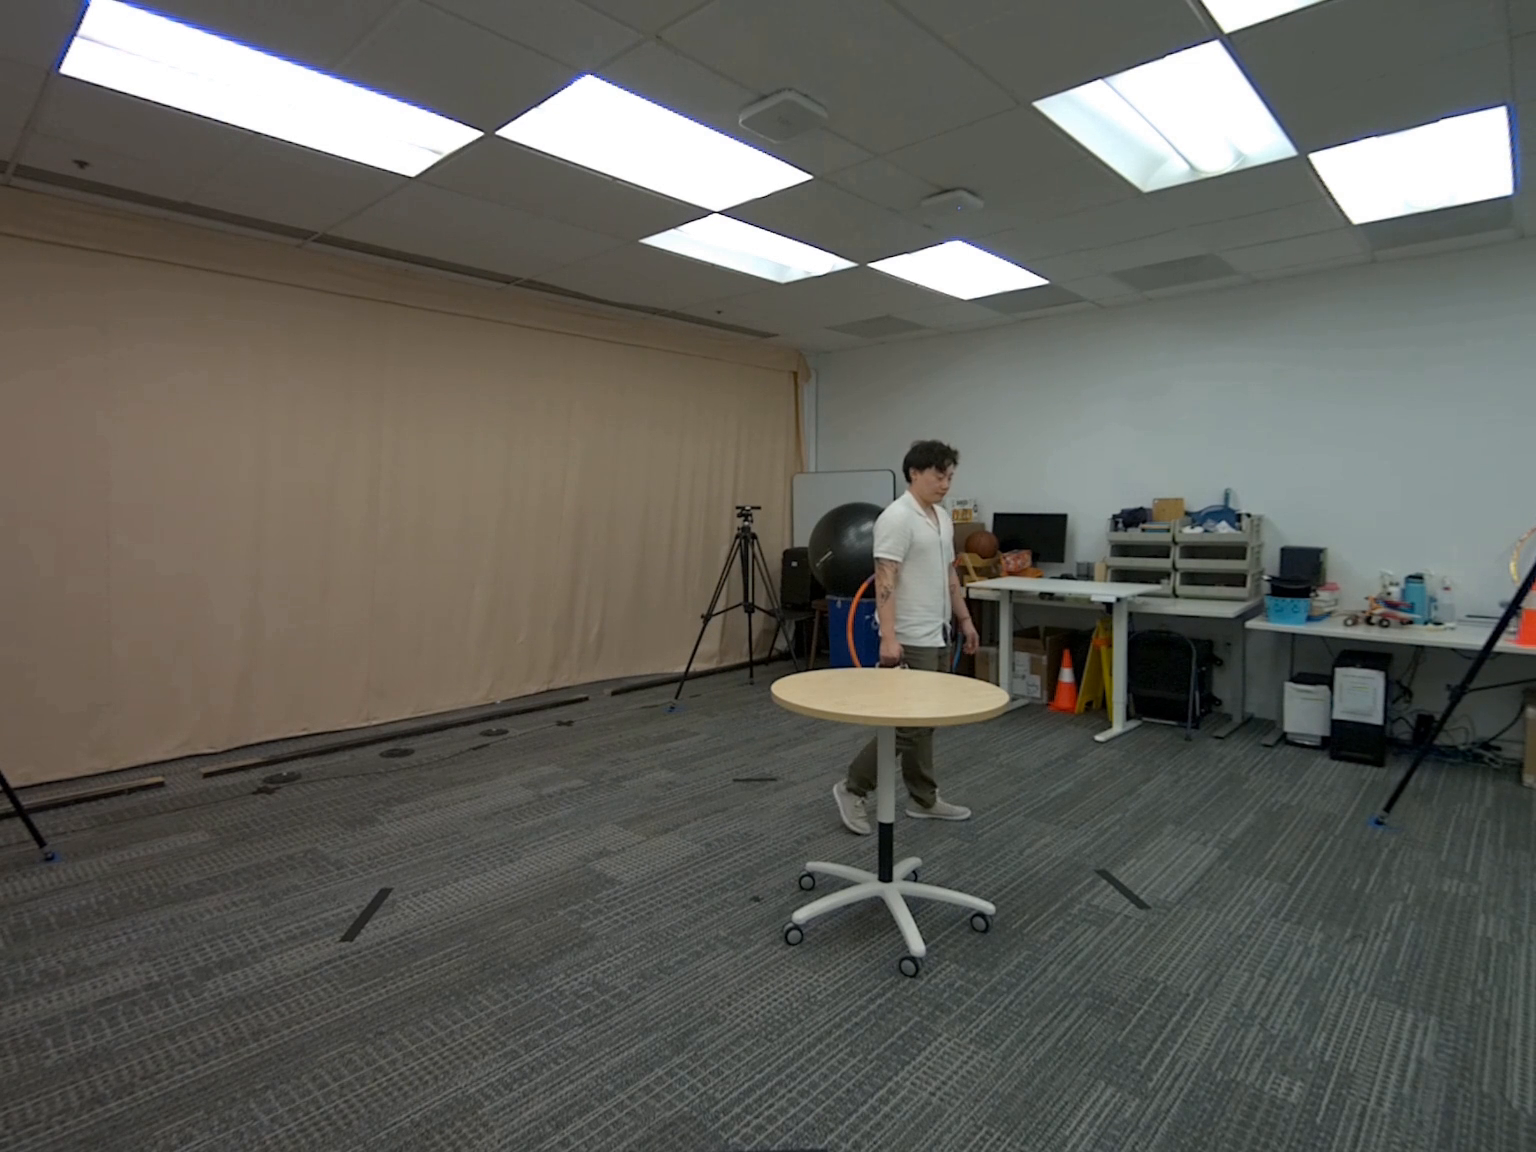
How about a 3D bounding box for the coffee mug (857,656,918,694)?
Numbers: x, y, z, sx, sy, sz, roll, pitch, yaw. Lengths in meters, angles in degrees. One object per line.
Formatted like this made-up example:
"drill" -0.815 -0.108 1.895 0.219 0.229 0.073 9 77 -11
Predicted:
"coffee mug" 0.483 0.388 3.449 0.207 0.122 0.086 -14 0 22
